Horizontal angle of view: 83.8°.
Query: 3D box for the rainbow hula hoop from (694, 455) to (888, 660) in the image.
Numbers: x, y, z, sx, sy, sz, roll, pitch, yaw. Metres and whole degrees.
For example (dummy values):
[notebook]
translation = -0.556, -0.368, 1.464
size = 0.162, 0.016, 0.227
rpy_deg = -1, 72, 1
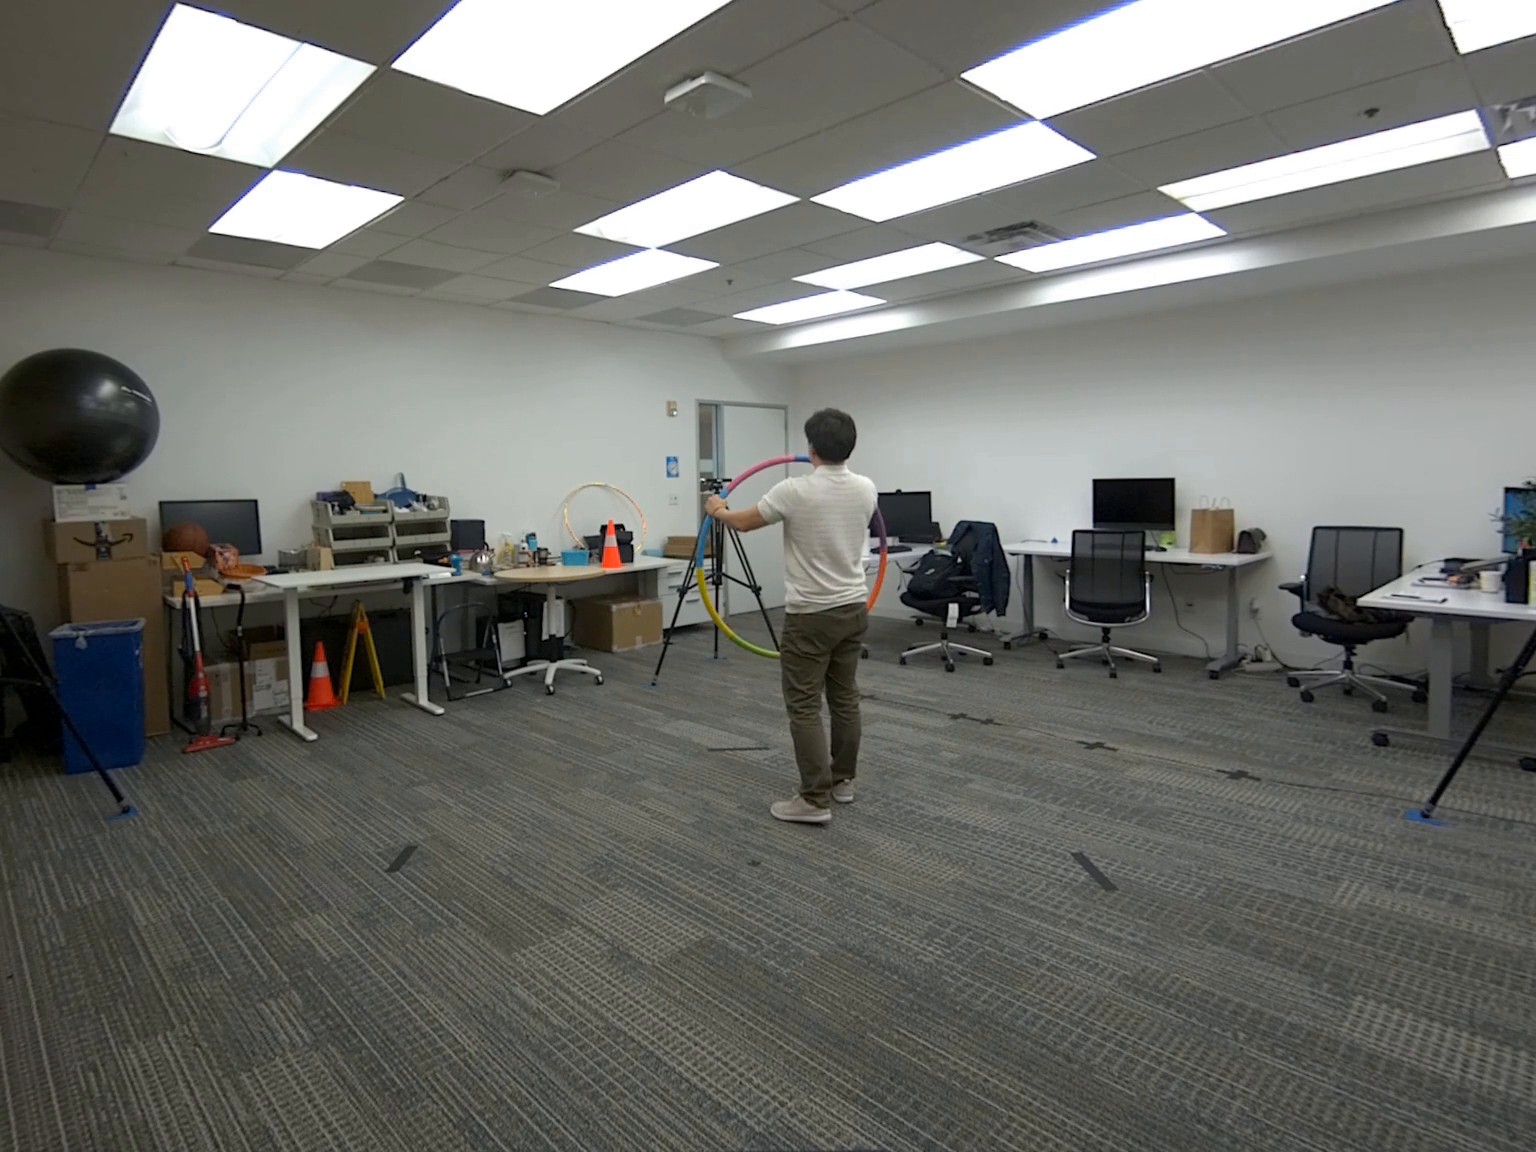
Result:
[rainbow hula hoop]
translation = 0.139, -0.091, 4.053
size = 0.962, 0.970, 0.036
rpy_deg = -2, 10, -18
